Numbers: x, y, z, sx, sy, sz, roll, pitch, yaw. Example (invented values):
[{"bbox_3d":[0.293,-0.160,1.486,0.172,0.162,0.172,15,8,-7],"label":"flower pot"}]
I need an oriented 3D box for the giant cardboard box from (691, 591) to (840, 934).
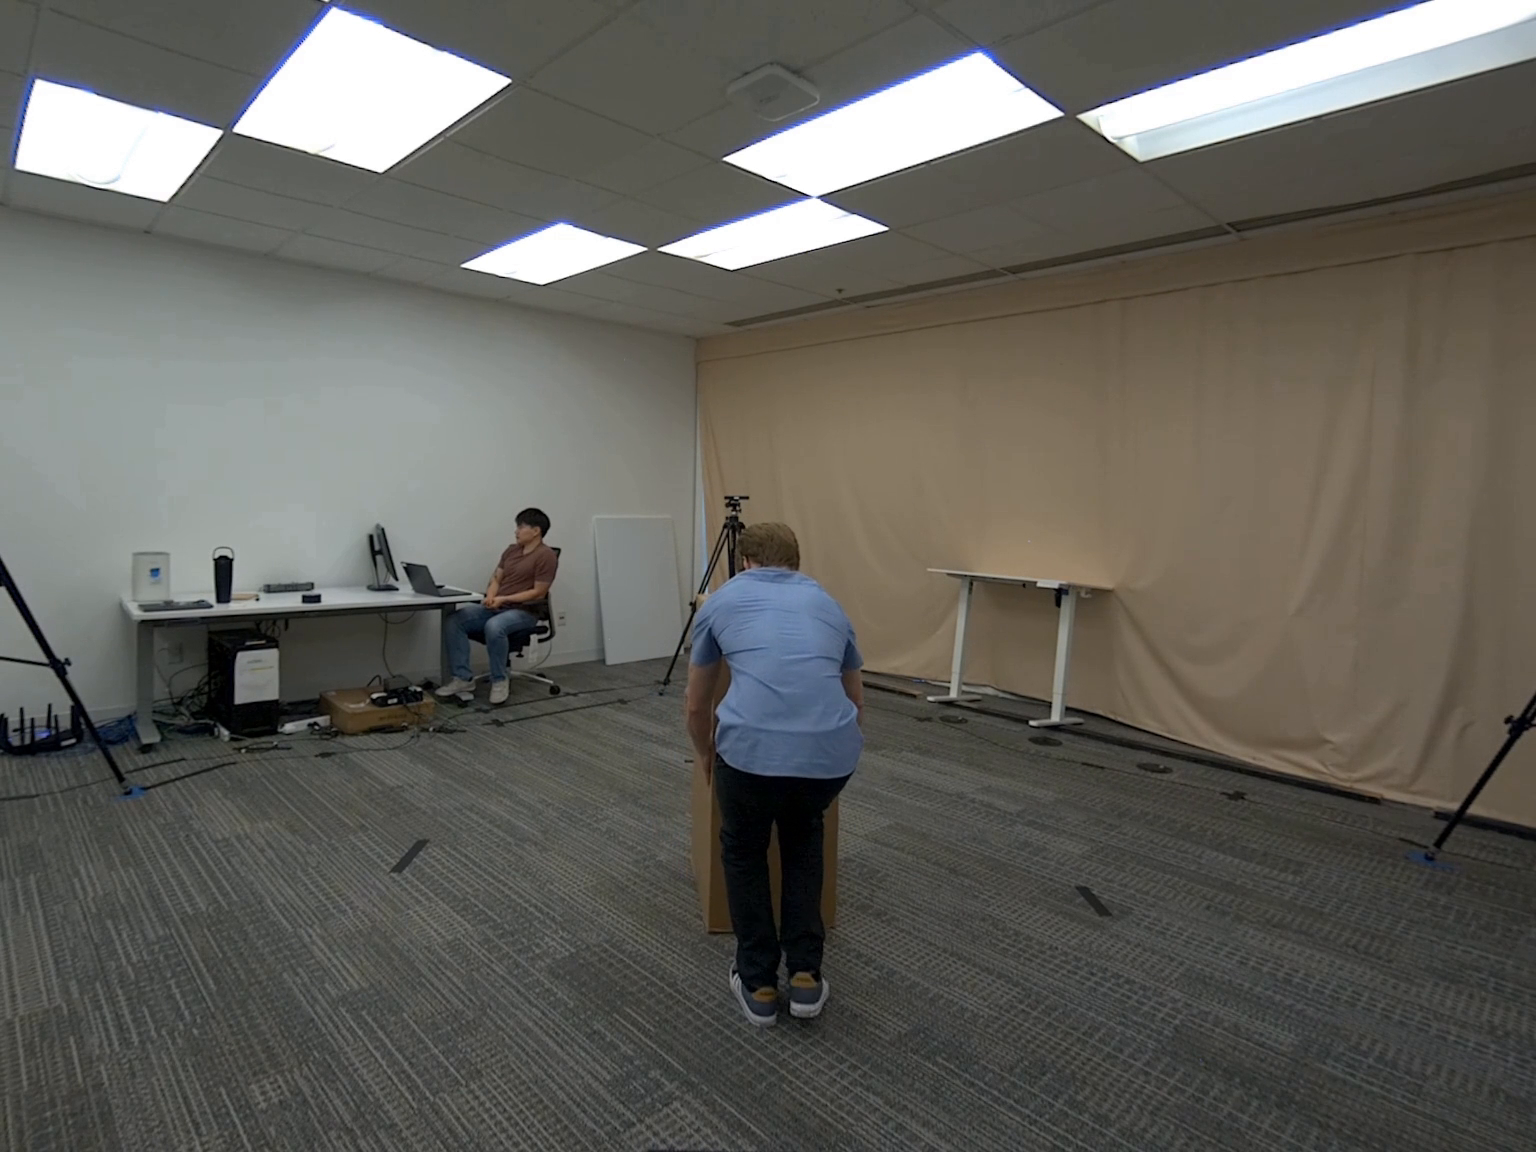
[{"bbox_3d":[-0.026,0.613,2.962,0.423,1.023,0.583,1,3,-10],"label":"giant cardboard box"}]
